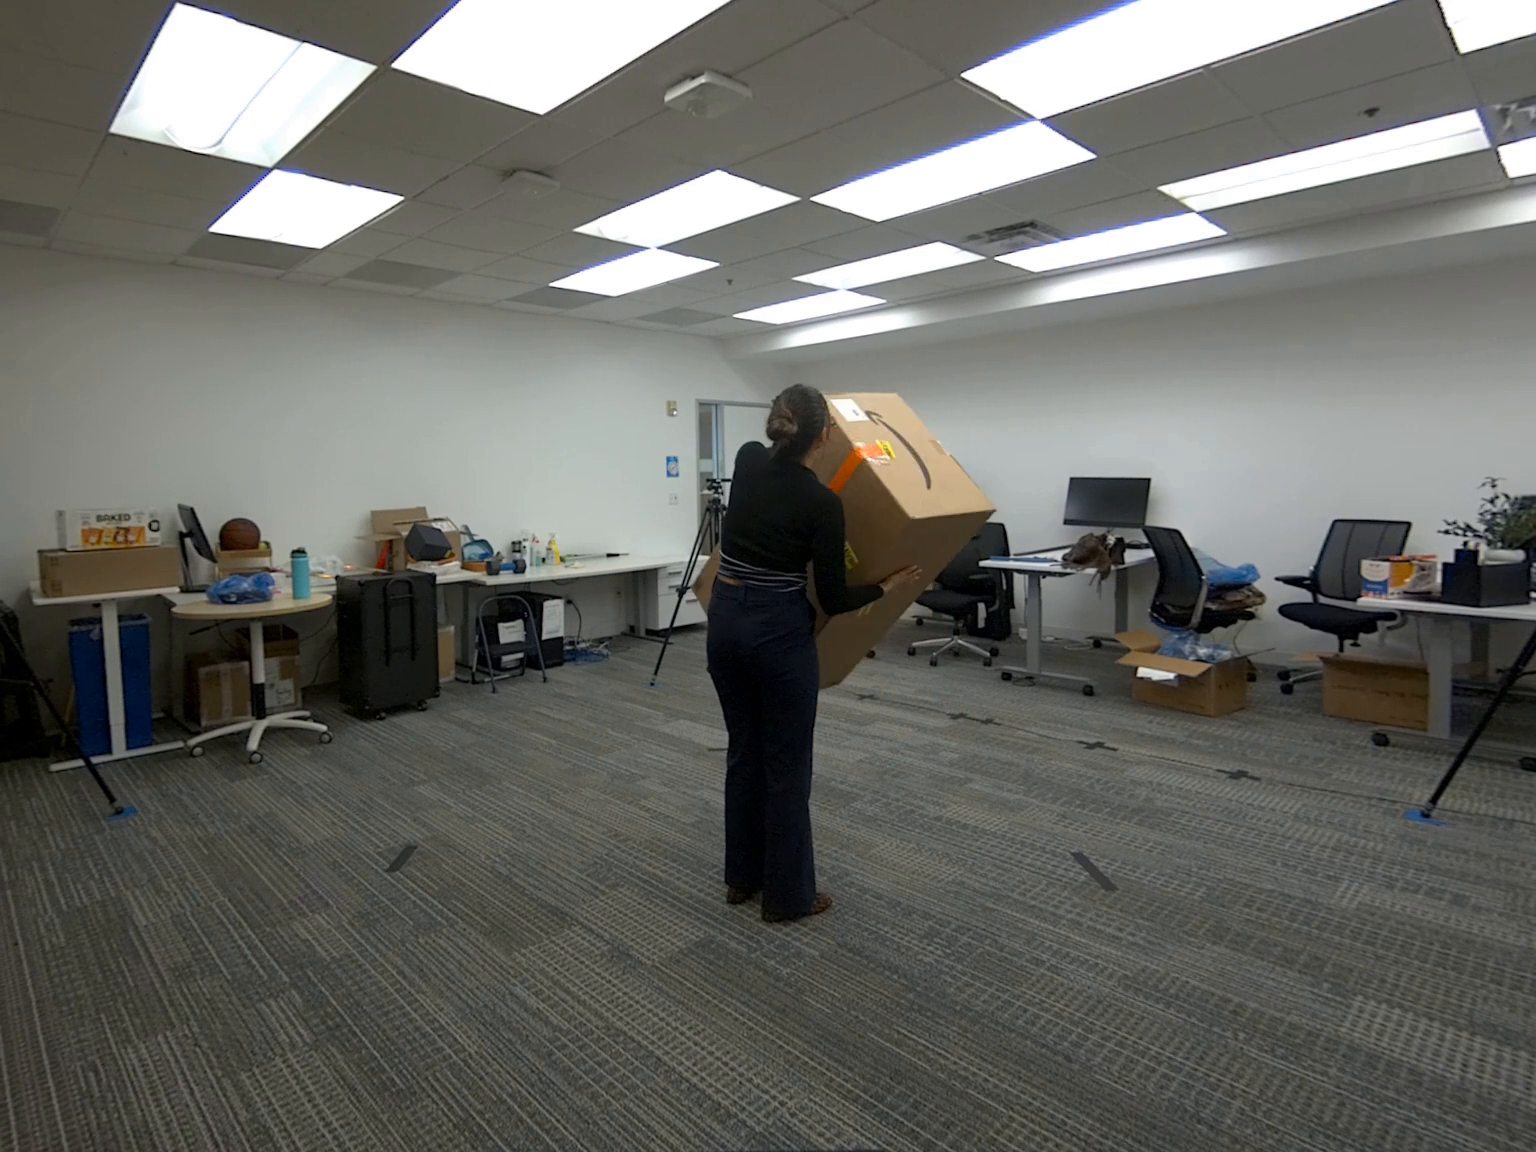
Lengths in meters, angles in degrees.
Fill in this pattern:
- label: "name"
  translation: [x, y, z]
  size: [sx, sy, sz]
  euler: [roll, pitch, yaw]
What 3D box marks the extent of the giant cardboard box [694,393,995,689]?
- label: "giant cardboard box"
  translation: [0.218, -0.088, 3.085]
  size: [0.416, 0.596, 1.019]
  euler: [-8, -35, -40]
